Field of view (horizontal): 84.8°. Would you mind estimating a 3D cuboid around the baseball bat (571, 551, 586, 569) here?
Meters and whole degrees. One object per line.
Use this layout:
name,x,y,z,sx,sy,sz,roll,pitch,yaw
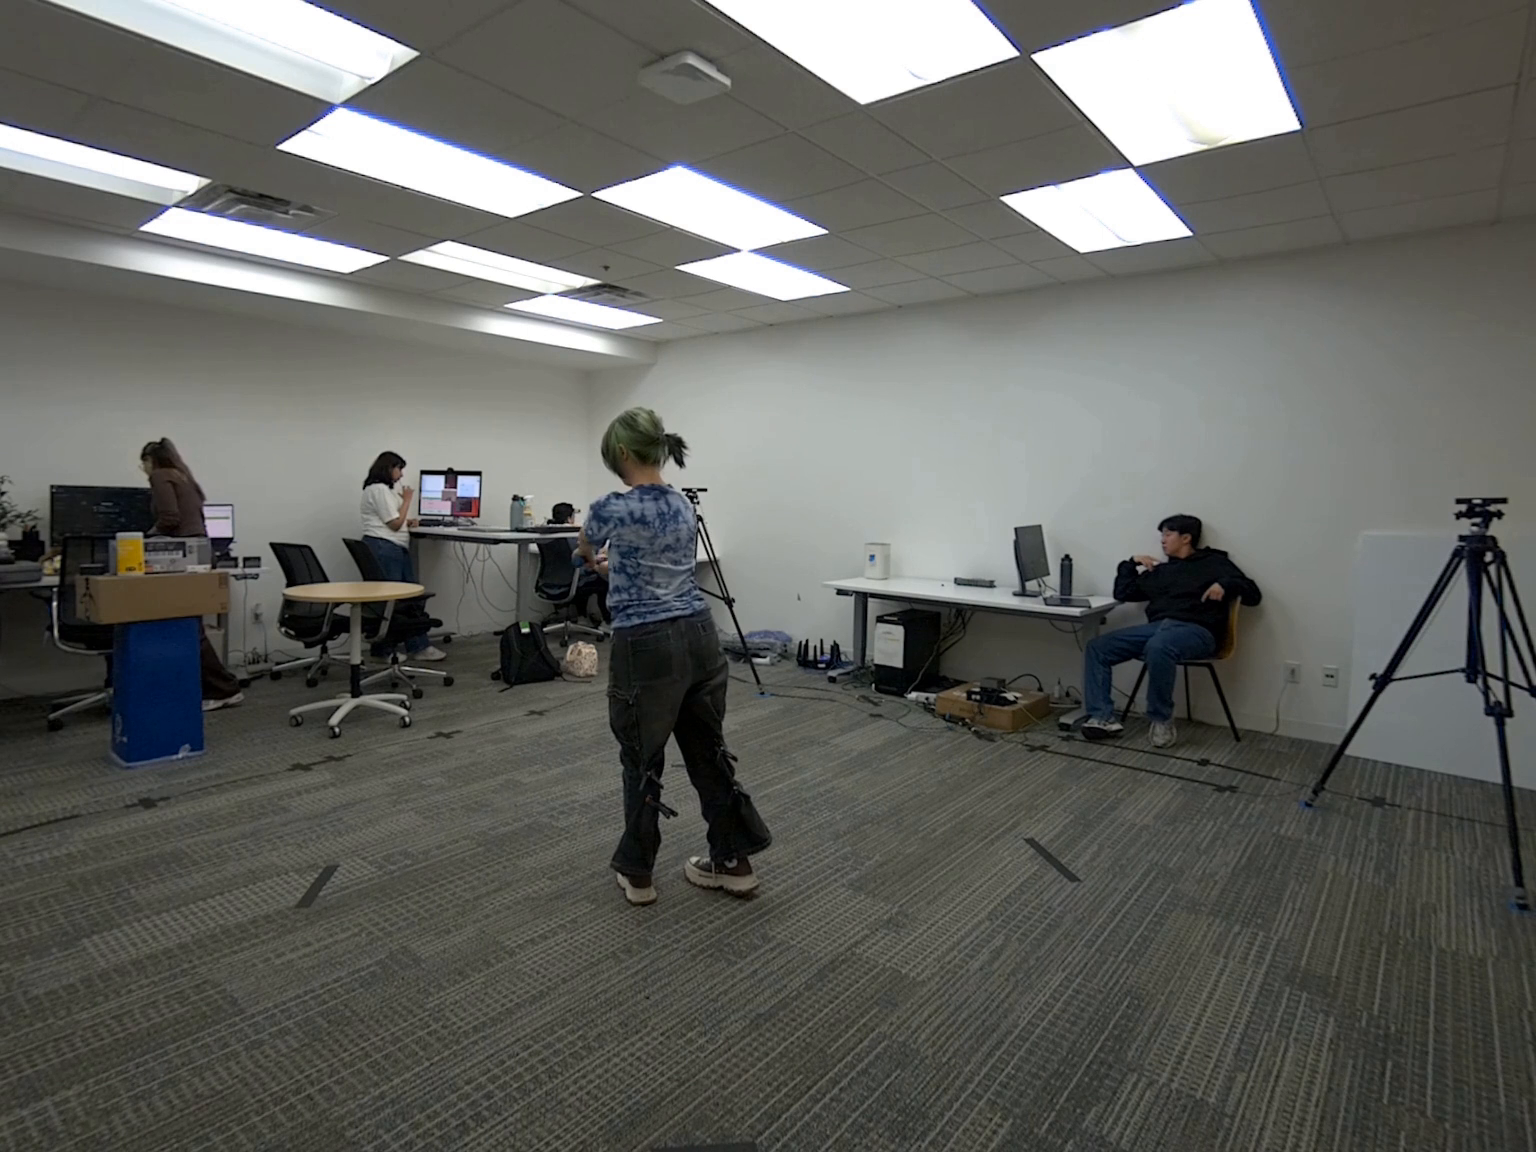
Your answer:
baseball bat,-0.614,-0.053,3.436,0.091,0.089,0.527,3,1,29
